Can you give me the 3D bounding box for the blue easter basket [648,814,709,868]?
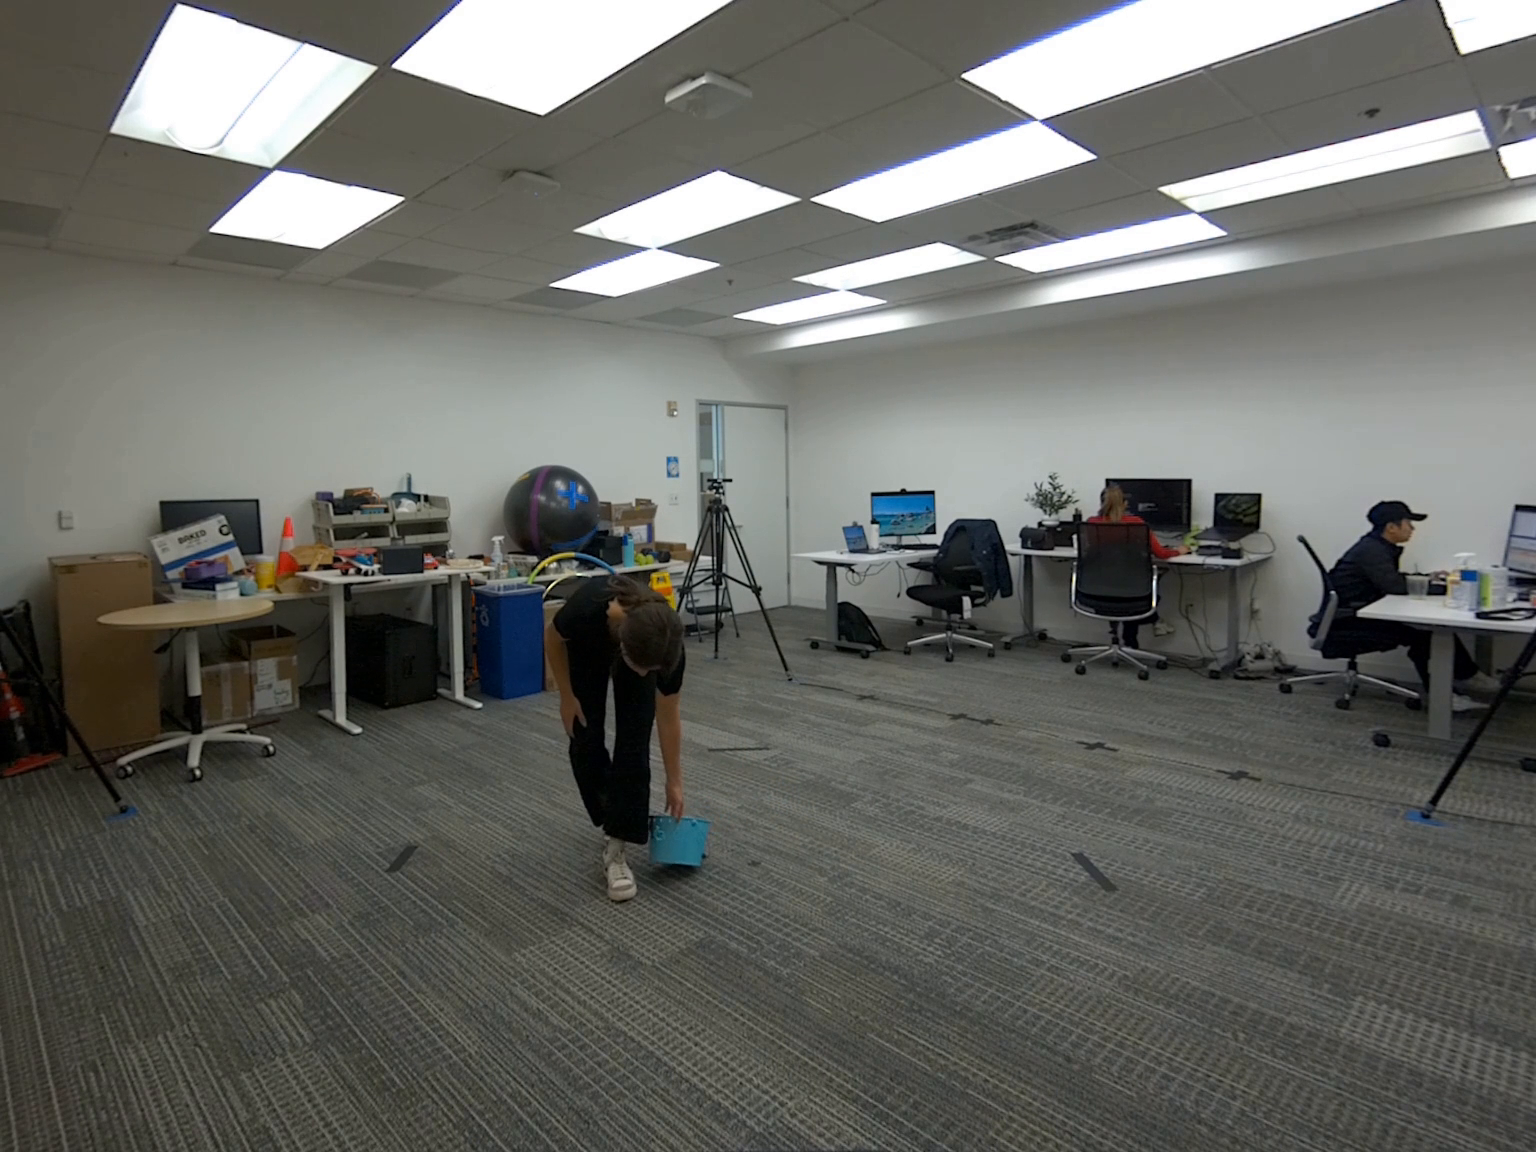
[{"bbox_3d":[-0.323,0.944,3.060,0.244,0.158,0.240,5,-18,0],"label":"blue easter basket"}]
